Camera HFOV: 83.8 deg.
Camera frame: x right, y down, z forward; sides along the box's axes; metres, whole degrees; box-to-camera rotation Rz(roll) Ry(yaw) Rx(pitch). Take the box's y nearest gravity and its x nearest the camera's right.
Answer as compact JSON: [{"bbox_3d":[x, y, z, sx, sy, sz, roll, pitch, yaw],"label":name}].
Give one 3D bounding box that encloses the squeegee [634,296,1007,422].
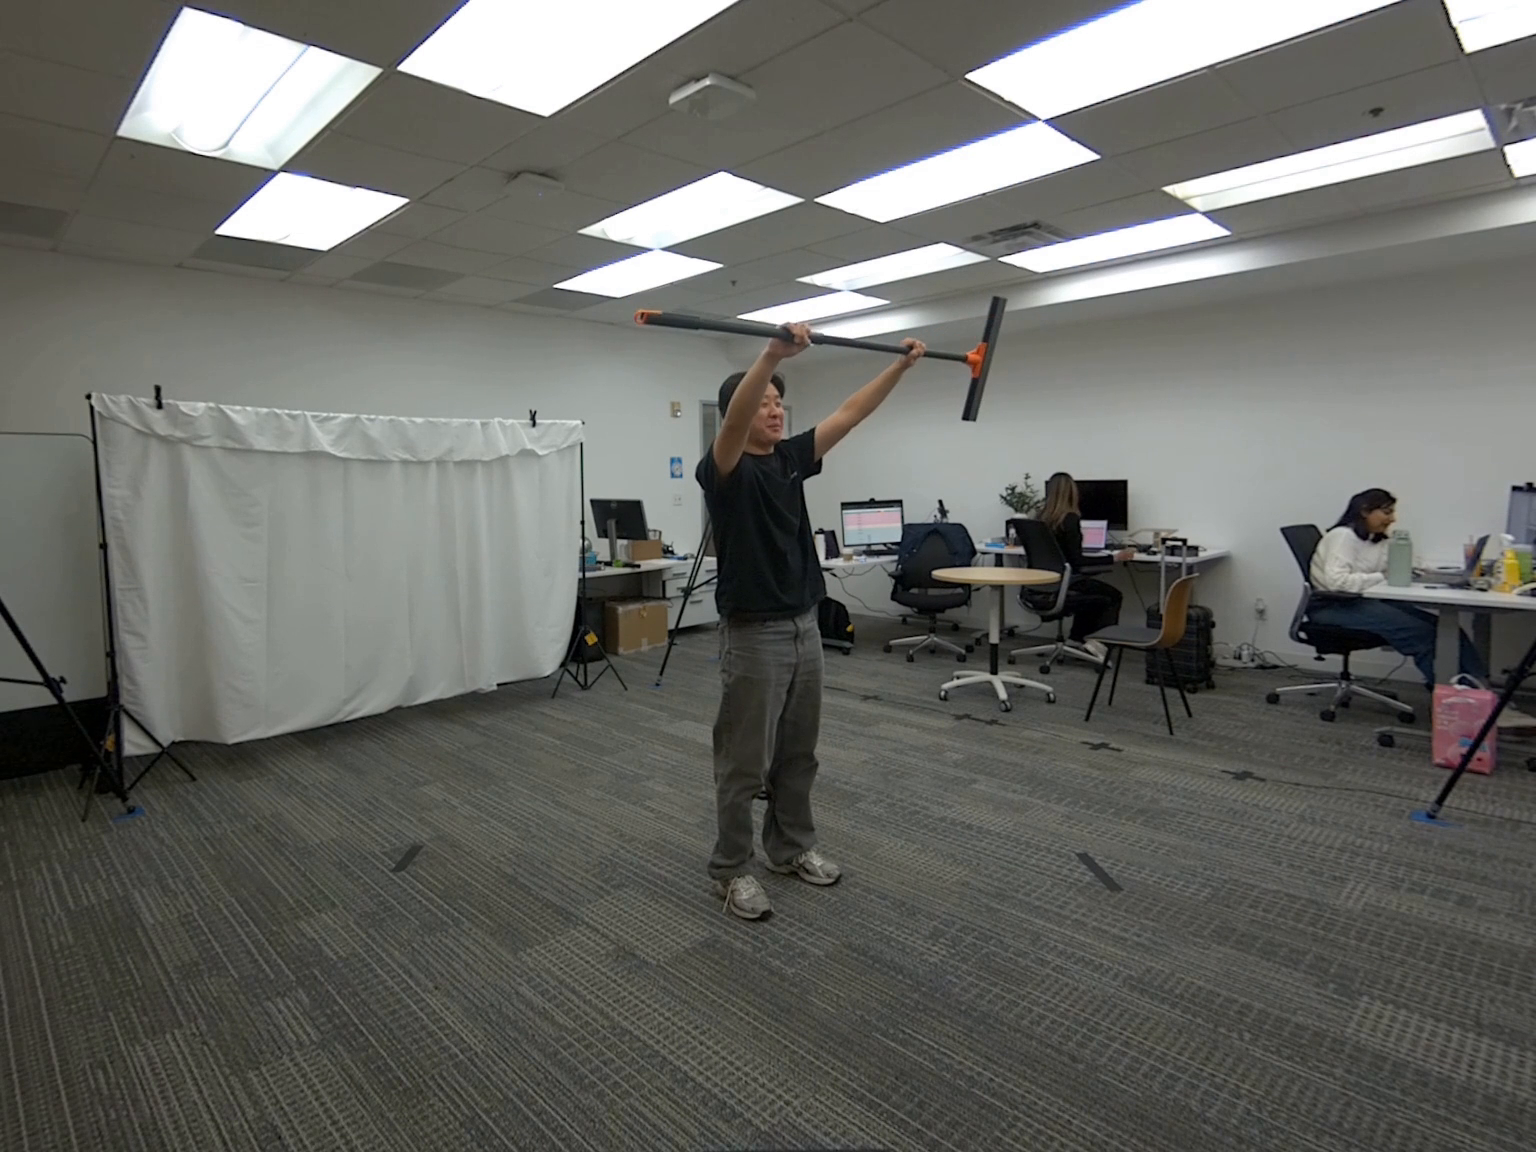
[{"bbox_3d":[0.240,-0.678,2.479,1.499,0.432,0.055,-9,28,-43],"label":"squeegee"}]
